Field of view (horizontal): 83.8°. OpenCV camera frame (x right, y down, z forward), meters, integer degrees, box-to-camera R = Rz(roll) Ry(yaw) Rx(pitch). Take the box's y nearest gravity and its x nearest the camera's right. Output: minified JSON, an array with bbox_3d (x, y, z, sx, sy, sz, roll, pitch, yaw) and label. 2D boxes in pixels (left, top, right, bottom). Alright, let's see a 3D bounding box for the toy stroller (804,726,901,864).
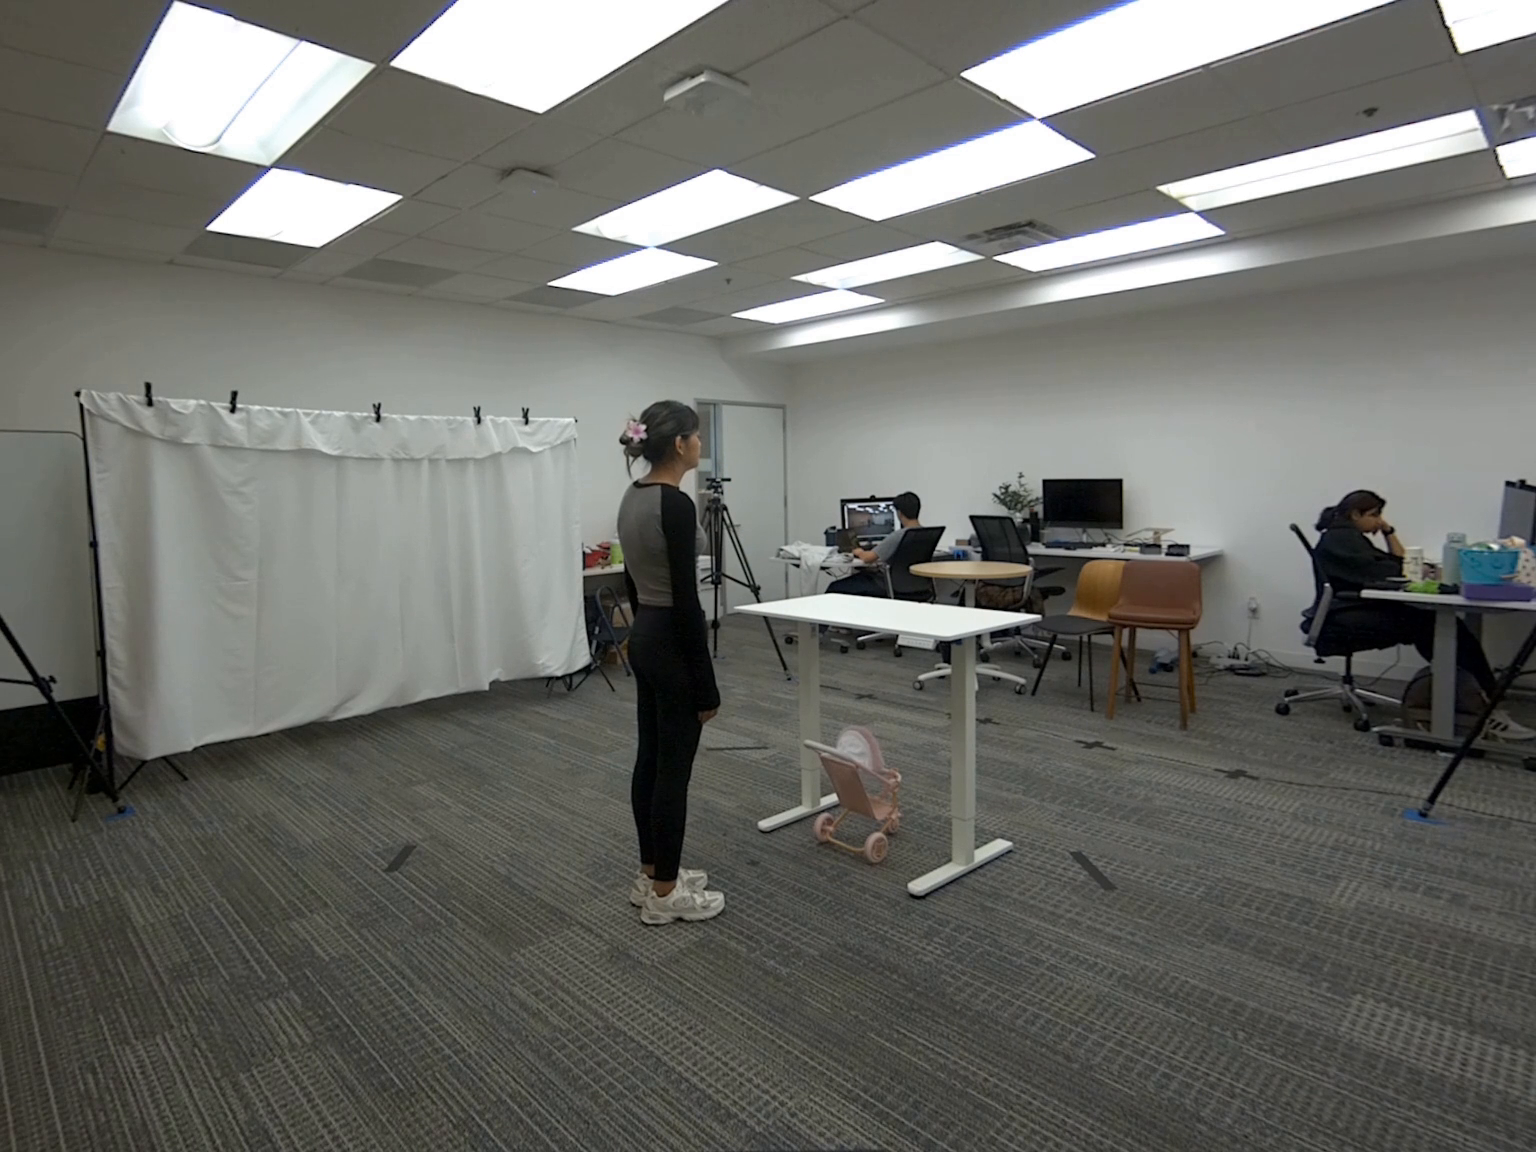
[{"bbox_3d":[0.352,0.798,3.209,0.336,0.527,0.290,-22,16,-36],"label":"toy stroller"}]
